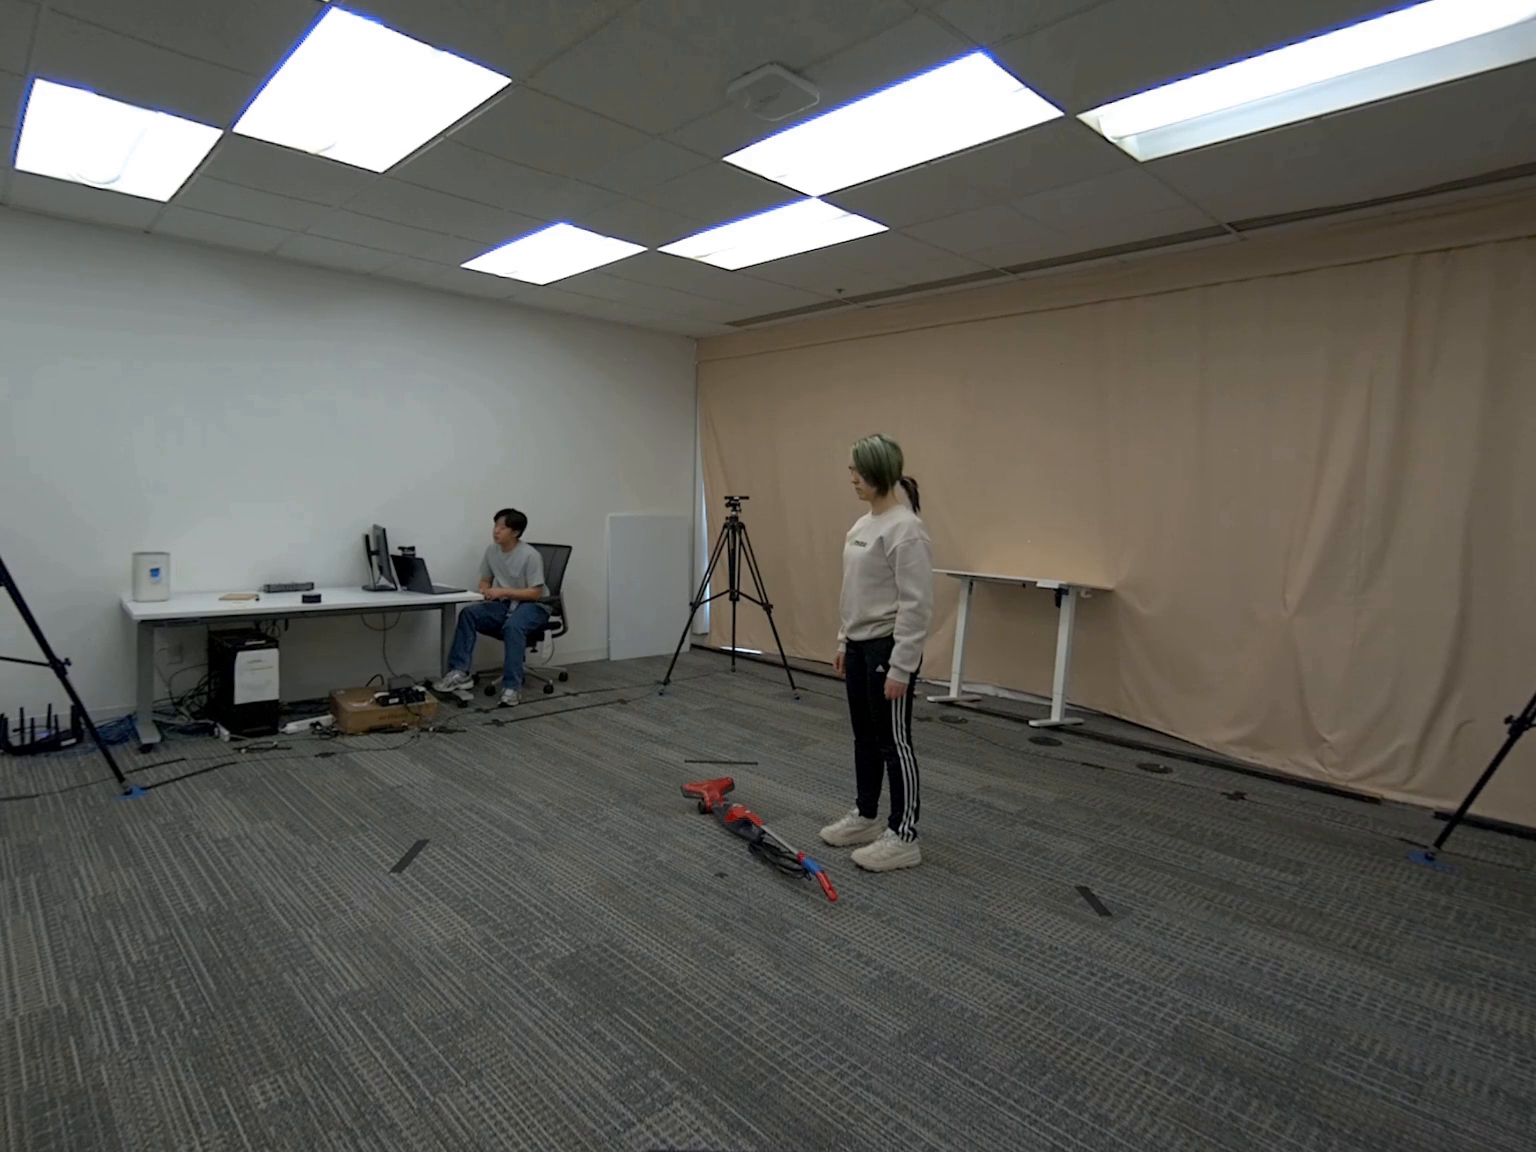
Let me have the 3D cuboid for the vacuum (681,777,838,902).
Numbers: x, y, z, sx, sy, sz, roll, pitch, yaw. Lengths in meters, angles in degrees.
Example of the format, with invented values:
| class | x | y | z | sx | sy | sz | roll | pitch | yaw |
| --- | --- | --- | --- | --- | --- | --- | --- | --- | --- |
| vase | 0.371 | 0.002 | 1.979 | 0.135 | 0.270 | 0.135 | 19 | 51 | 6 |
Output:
| class | x | y | z | sx | sy | sz | roll | pitch | yaw |
| --- | --- | --- | --- | --- | --- | --- | --- | --- | --- |
| vacuum | -0.026 | 1.030 | 3.296 | 0.248 | 0.143 | 1.072 | 0 | 6 | -26 |
